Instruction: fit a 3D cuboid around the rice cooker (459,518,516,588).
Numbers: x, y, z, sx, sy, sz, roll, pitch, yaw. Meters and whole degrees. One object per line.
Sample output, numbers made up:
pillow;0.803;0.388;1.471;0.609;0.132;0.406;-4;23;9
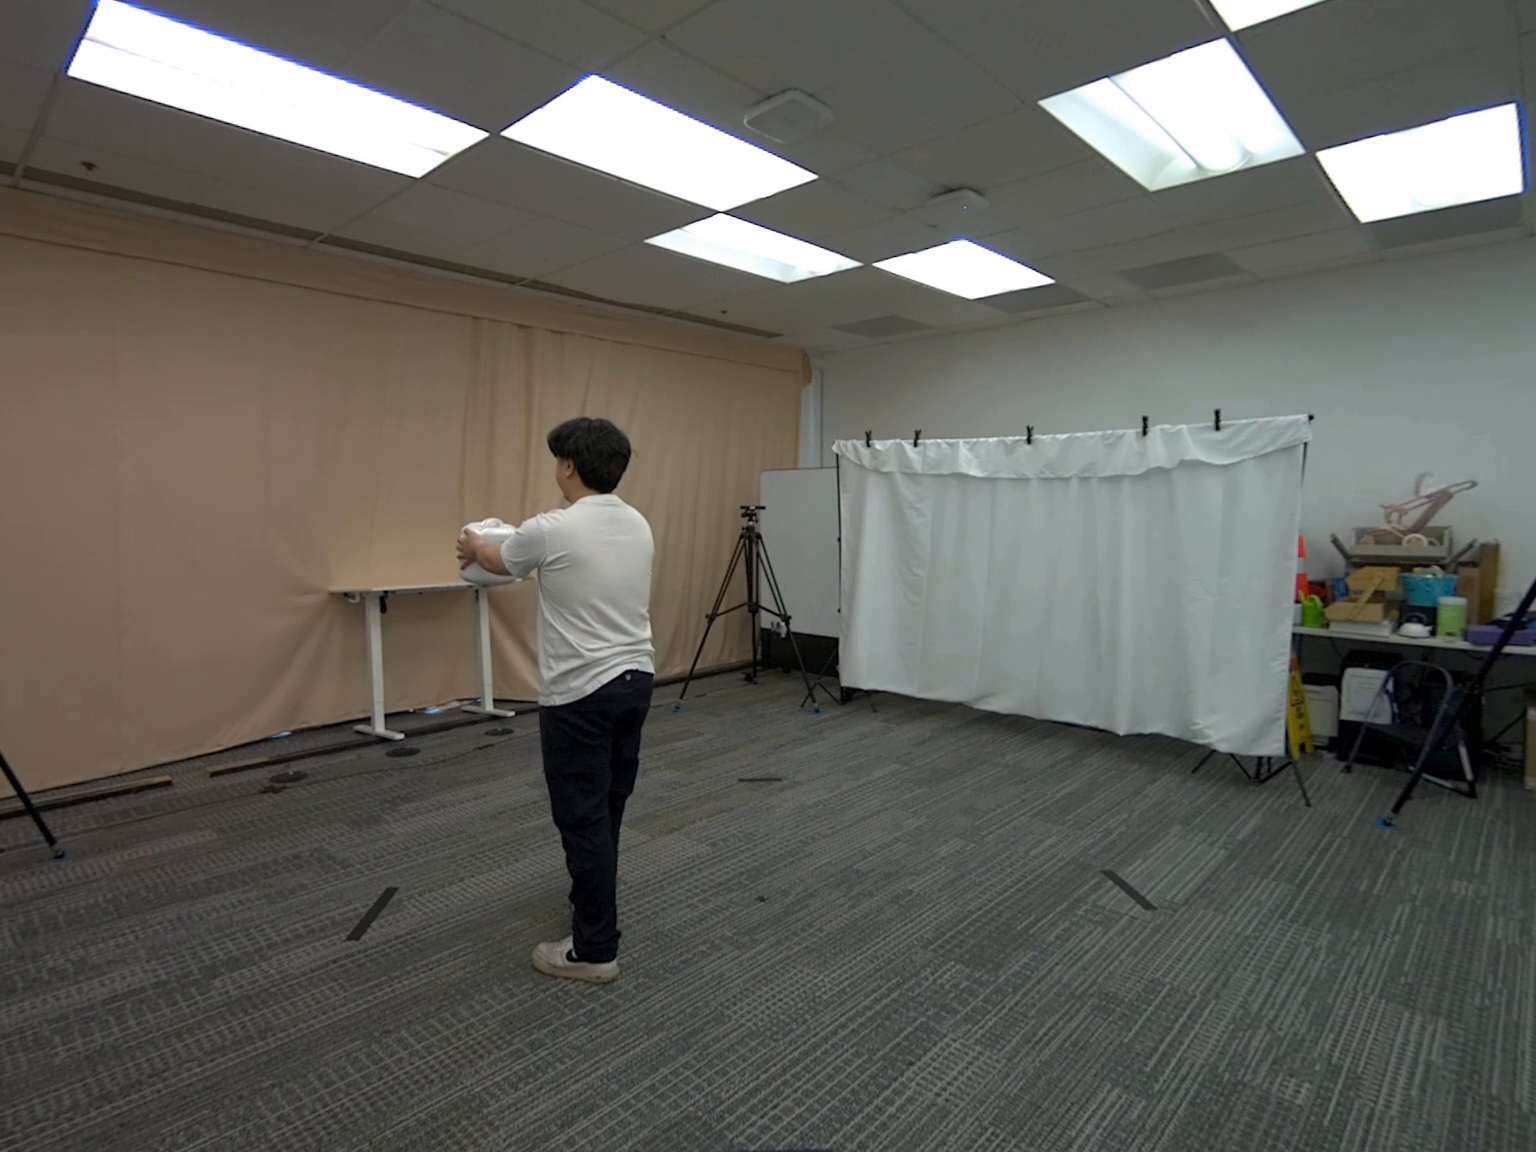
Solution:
rice cooker;-1.003;-0.093;3.038;0.220;0.232;0.219;6;9;9
